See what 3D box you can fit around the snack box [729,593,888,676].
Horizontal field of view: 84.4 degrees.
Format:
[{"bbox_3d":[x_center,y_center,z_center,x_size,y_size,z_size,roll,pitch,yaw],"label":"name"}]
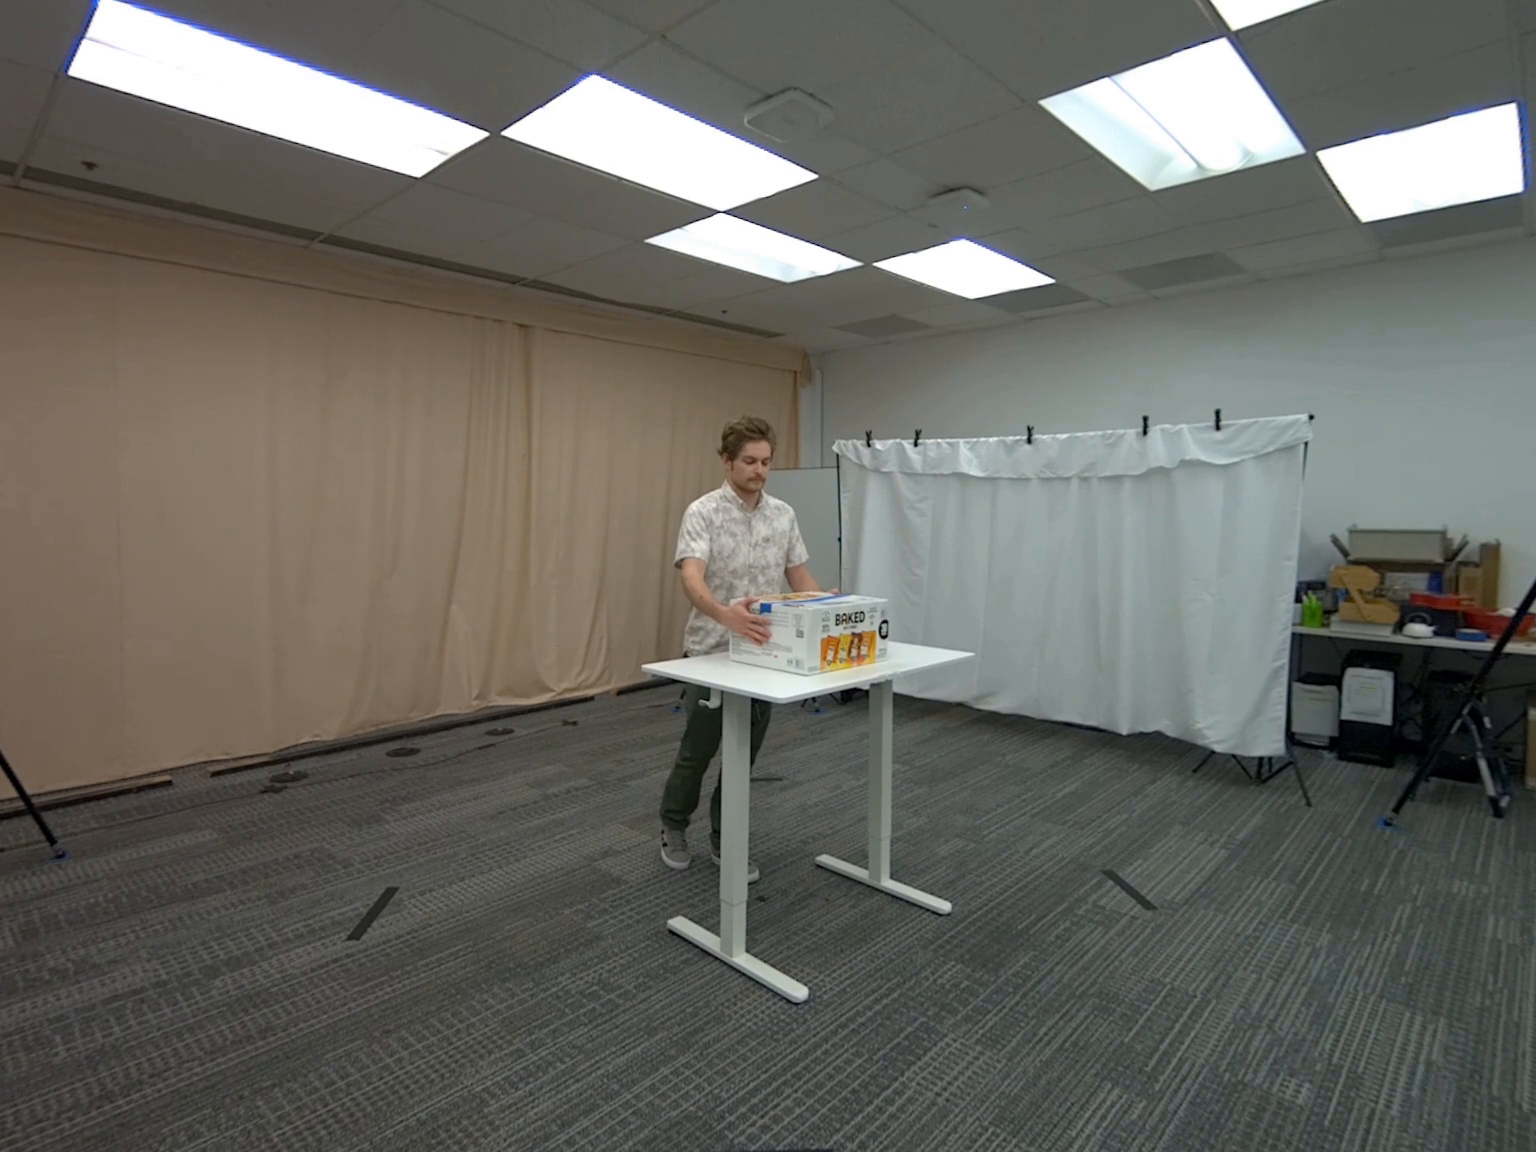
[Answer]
[{"bbox_3d":[0.143,0.176,2.750,0.392,0.205,0.352,-3,5,-44],"label":"snack box"}]
